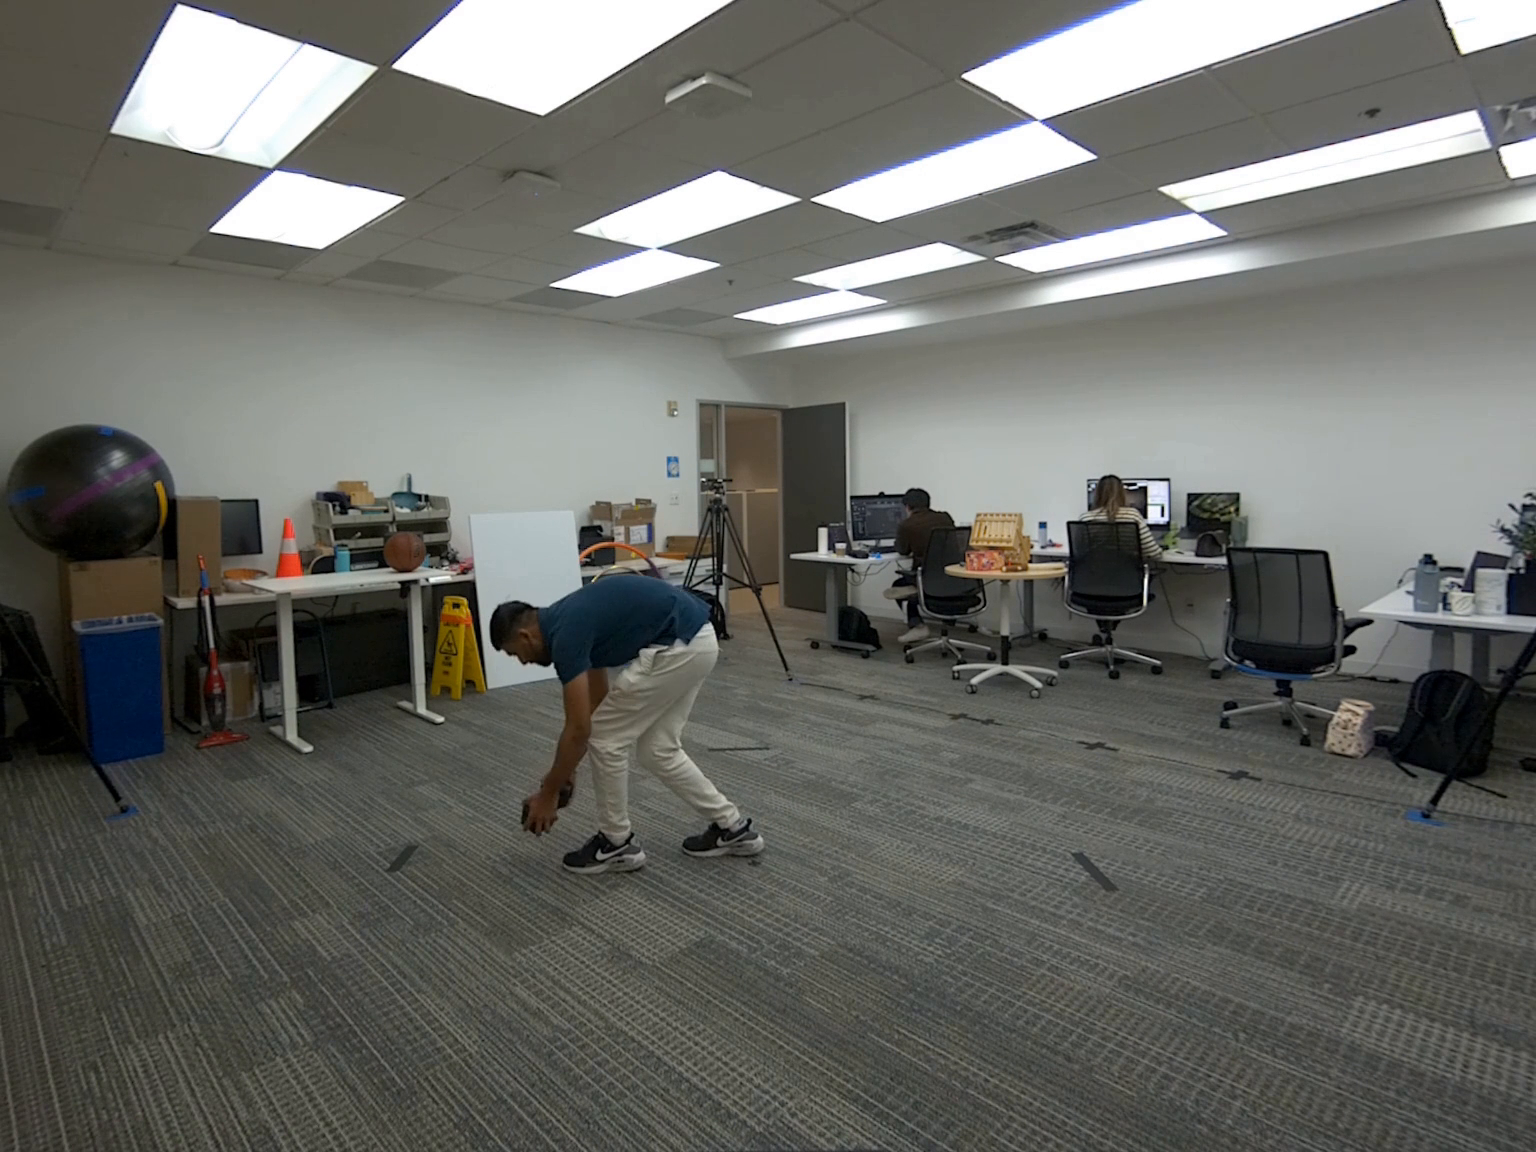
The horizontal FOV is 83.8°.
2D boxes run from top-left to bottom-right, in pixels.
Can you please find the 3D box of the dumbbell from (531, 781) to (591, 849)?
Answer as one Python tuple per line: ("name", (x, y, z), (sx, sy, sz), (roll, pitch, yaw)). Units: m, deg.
("dumbbell", (-0.745, 0.850, 3.098), (0.109, 0.122, 0.293), (16, 5, 0))
